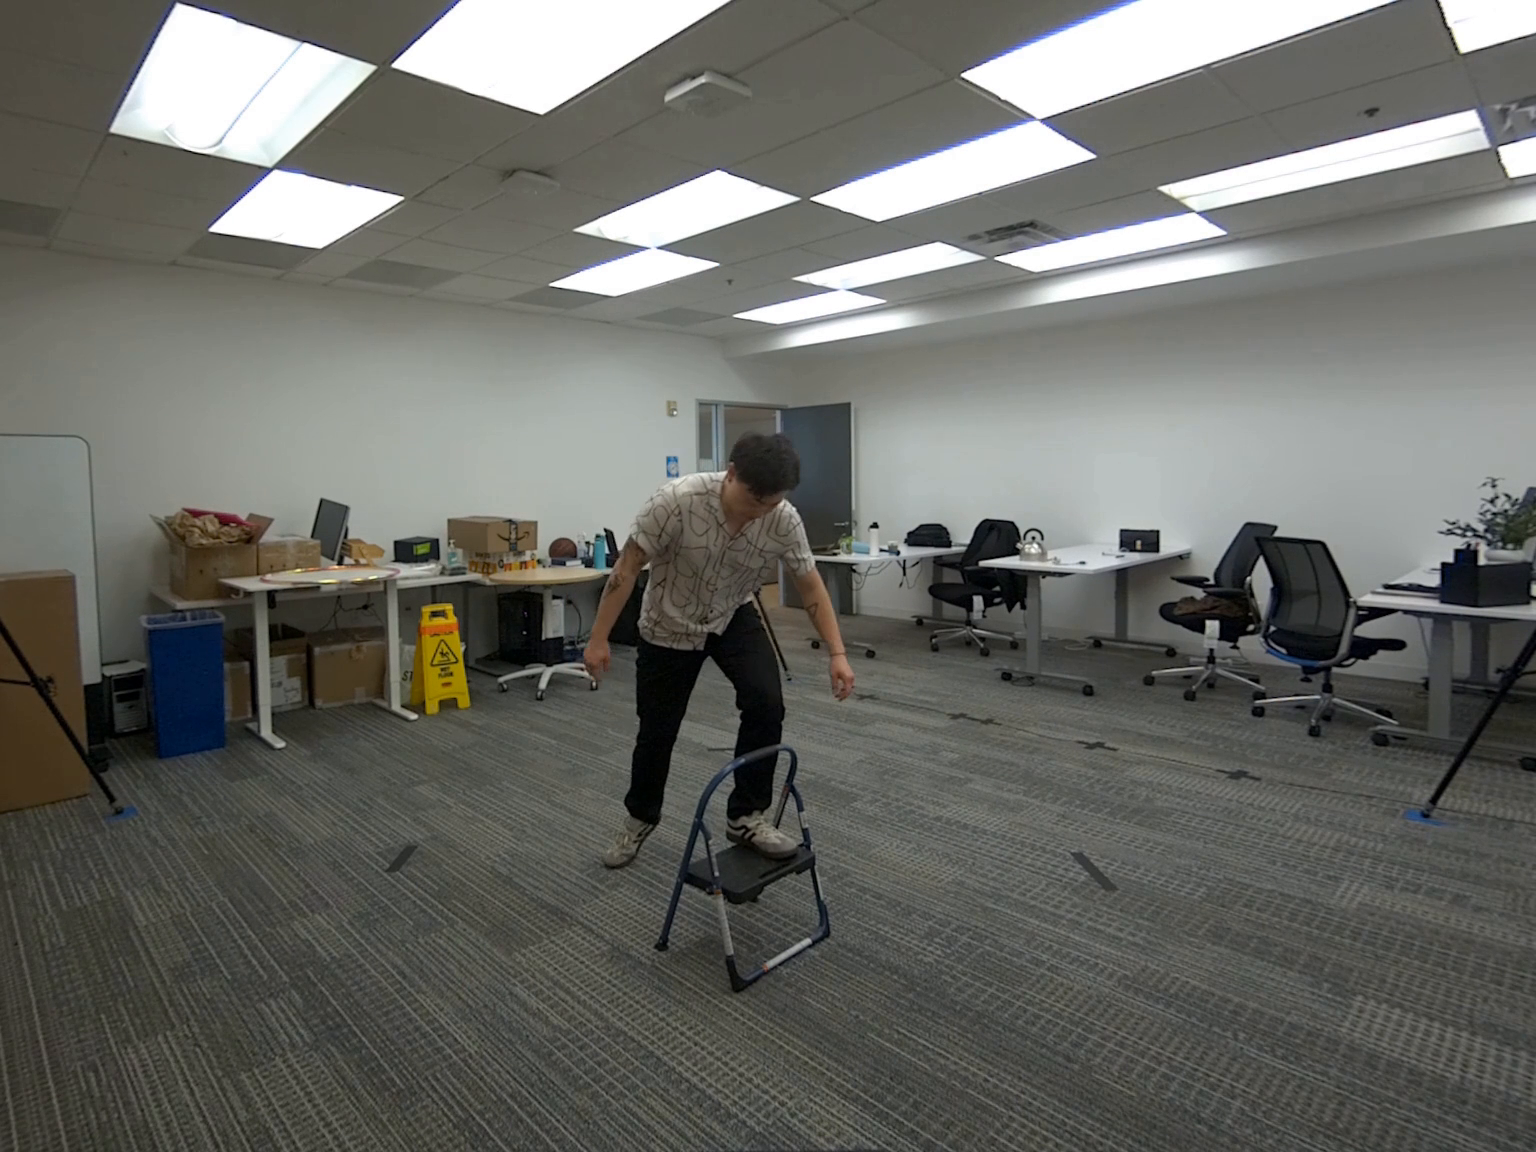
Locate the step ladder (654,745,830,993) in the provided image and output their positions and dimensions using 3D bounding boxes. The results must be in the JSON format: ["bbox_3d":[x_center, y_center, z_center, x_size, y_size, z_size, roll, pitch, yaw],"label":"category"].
[{"bbox_3d":[-0.072,0.806,2.564,0.360,0.603,0.419,4,7,43],"label":"step ladder"}]
